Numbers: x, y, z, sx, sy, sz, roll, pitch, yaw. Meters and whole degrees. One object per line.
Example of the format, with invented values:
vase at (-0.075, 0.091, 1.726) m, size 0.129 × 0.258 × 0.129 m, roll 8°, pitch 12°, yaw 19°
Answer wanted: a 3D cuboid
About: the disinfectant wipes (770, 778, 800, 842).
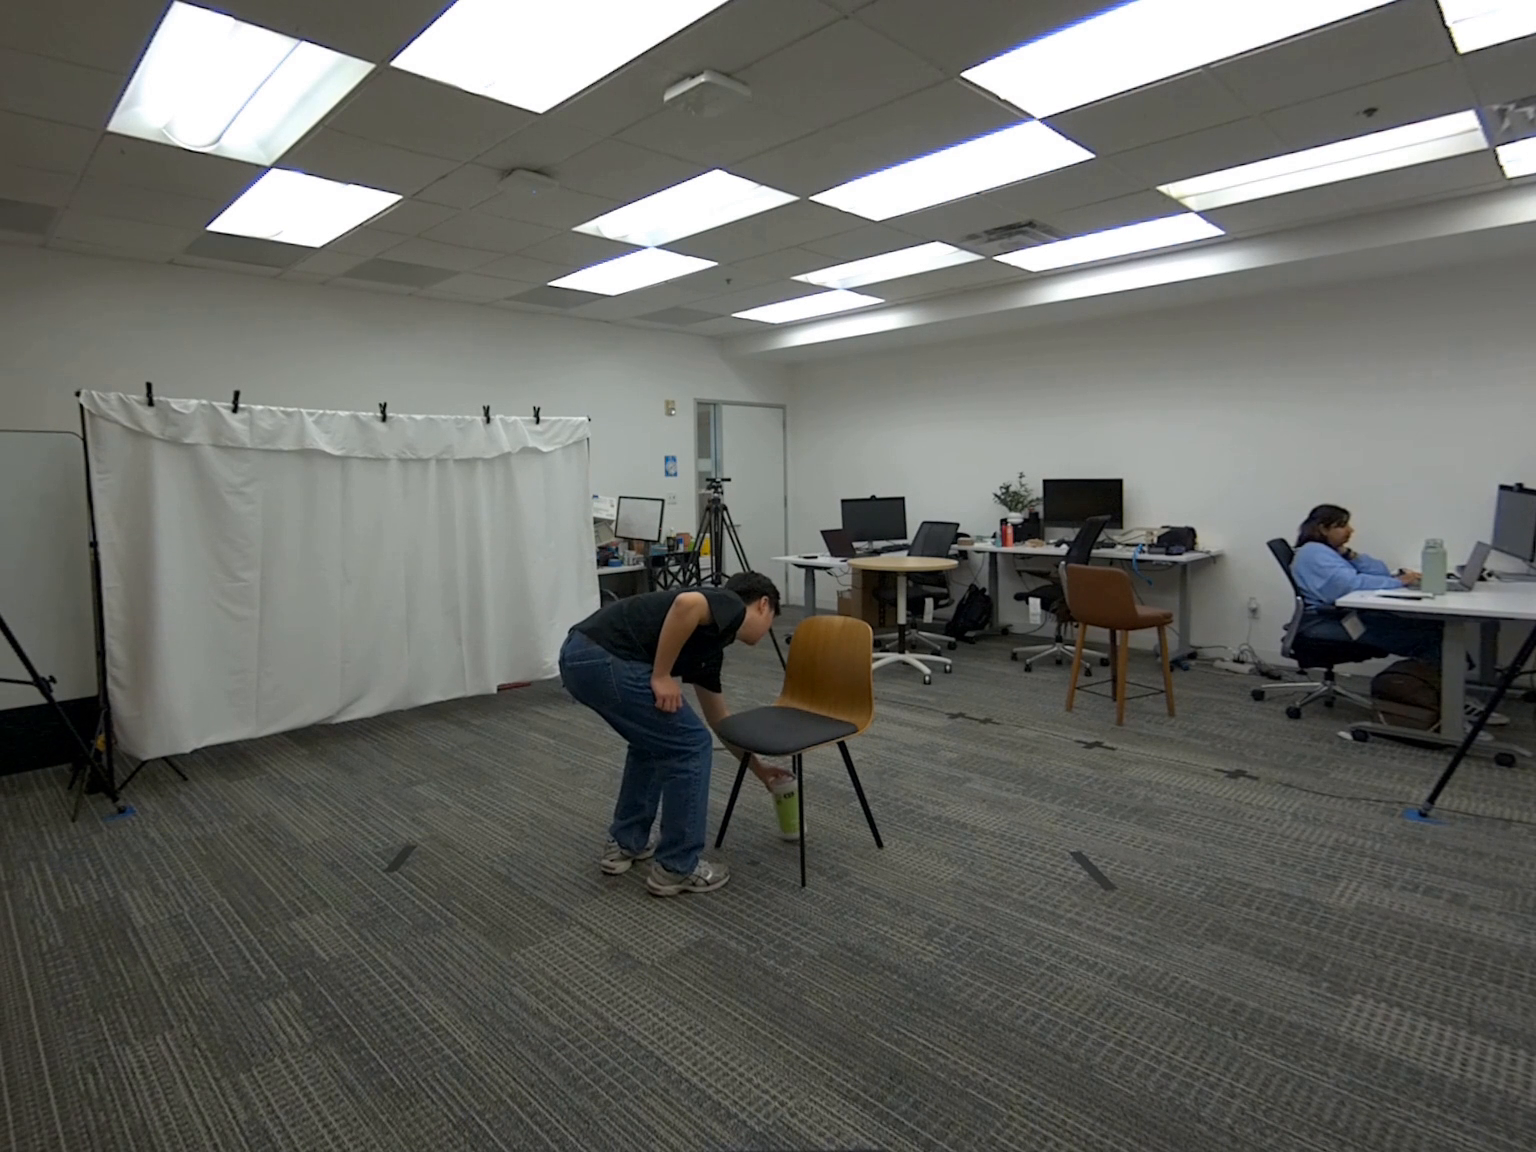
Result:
disinfectant wipes at (0.078, 0.894, 3.292) m, size 0.118 × 0.215 × 0.119 m, roll -11°, pitch 10°, yaw 0°
